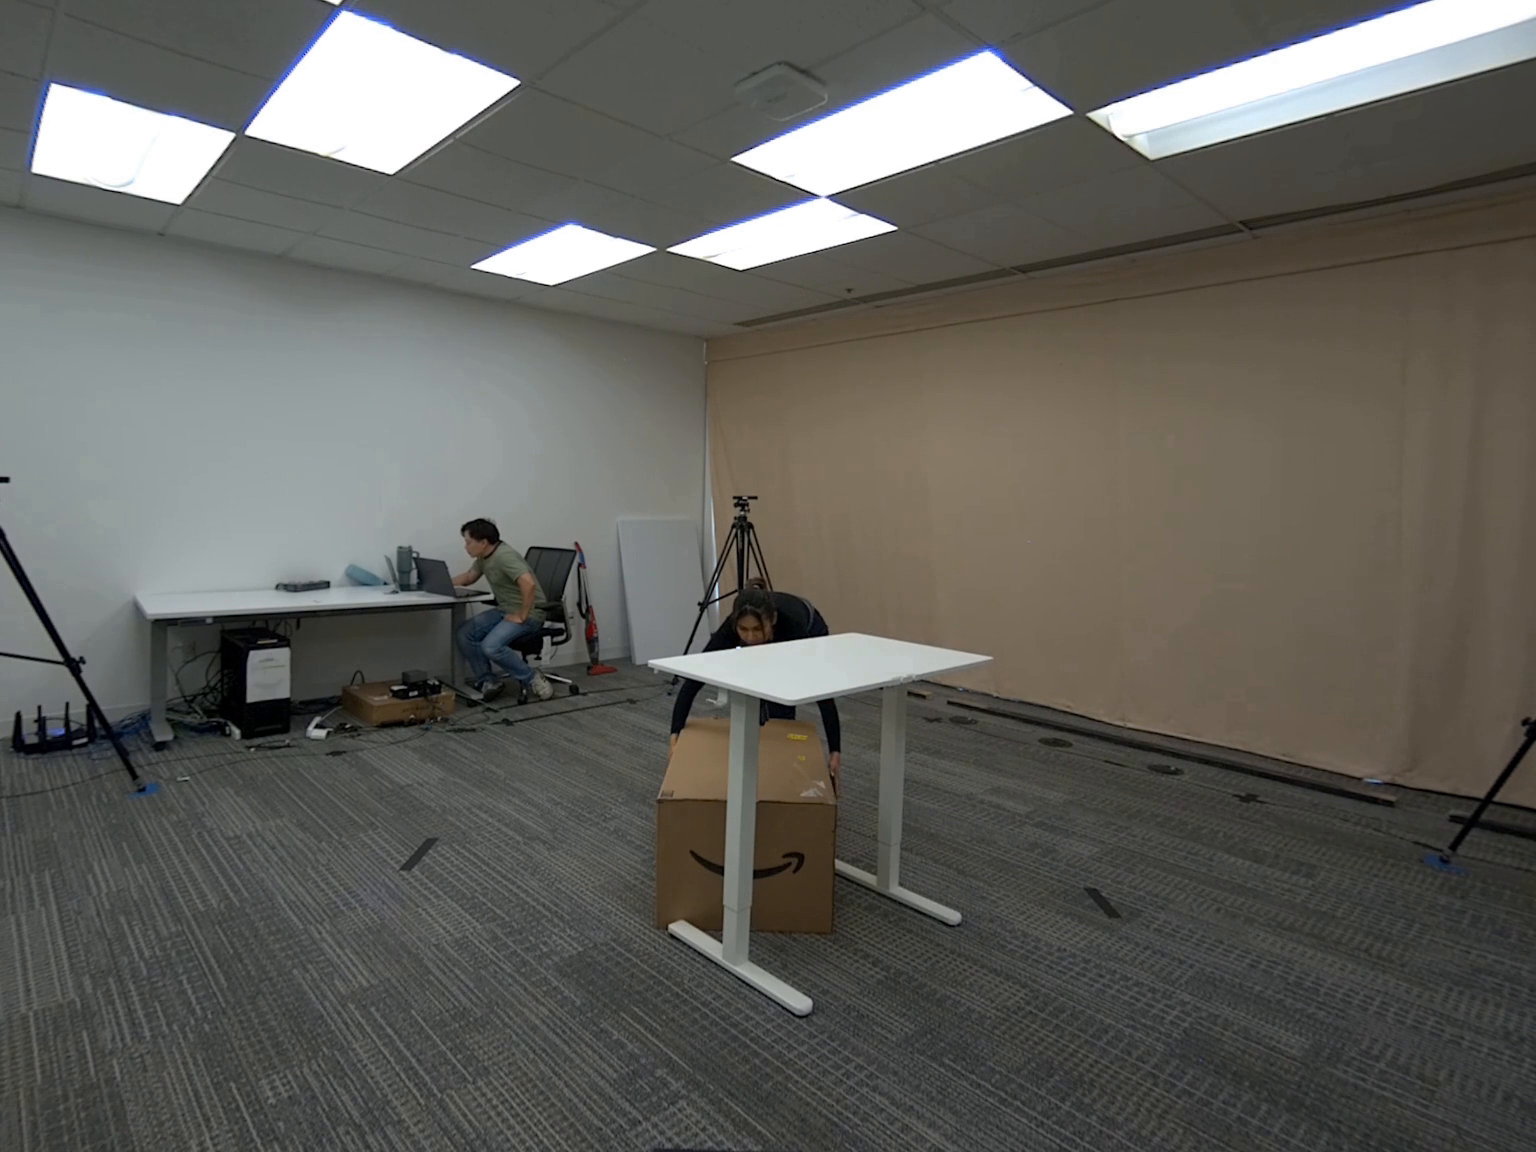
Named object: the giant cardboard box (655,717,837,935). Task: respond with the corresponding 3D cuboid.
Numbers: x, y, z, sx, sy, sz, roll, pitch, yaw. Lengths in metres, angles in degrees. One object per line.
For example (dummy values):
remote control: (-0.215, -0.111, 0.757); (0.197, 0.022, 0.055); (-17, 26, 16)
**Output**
giant cardboard box: (-0.086, 0.879, 3.192); (0.577, 0.425, 1.028); (2, 4, -1)
